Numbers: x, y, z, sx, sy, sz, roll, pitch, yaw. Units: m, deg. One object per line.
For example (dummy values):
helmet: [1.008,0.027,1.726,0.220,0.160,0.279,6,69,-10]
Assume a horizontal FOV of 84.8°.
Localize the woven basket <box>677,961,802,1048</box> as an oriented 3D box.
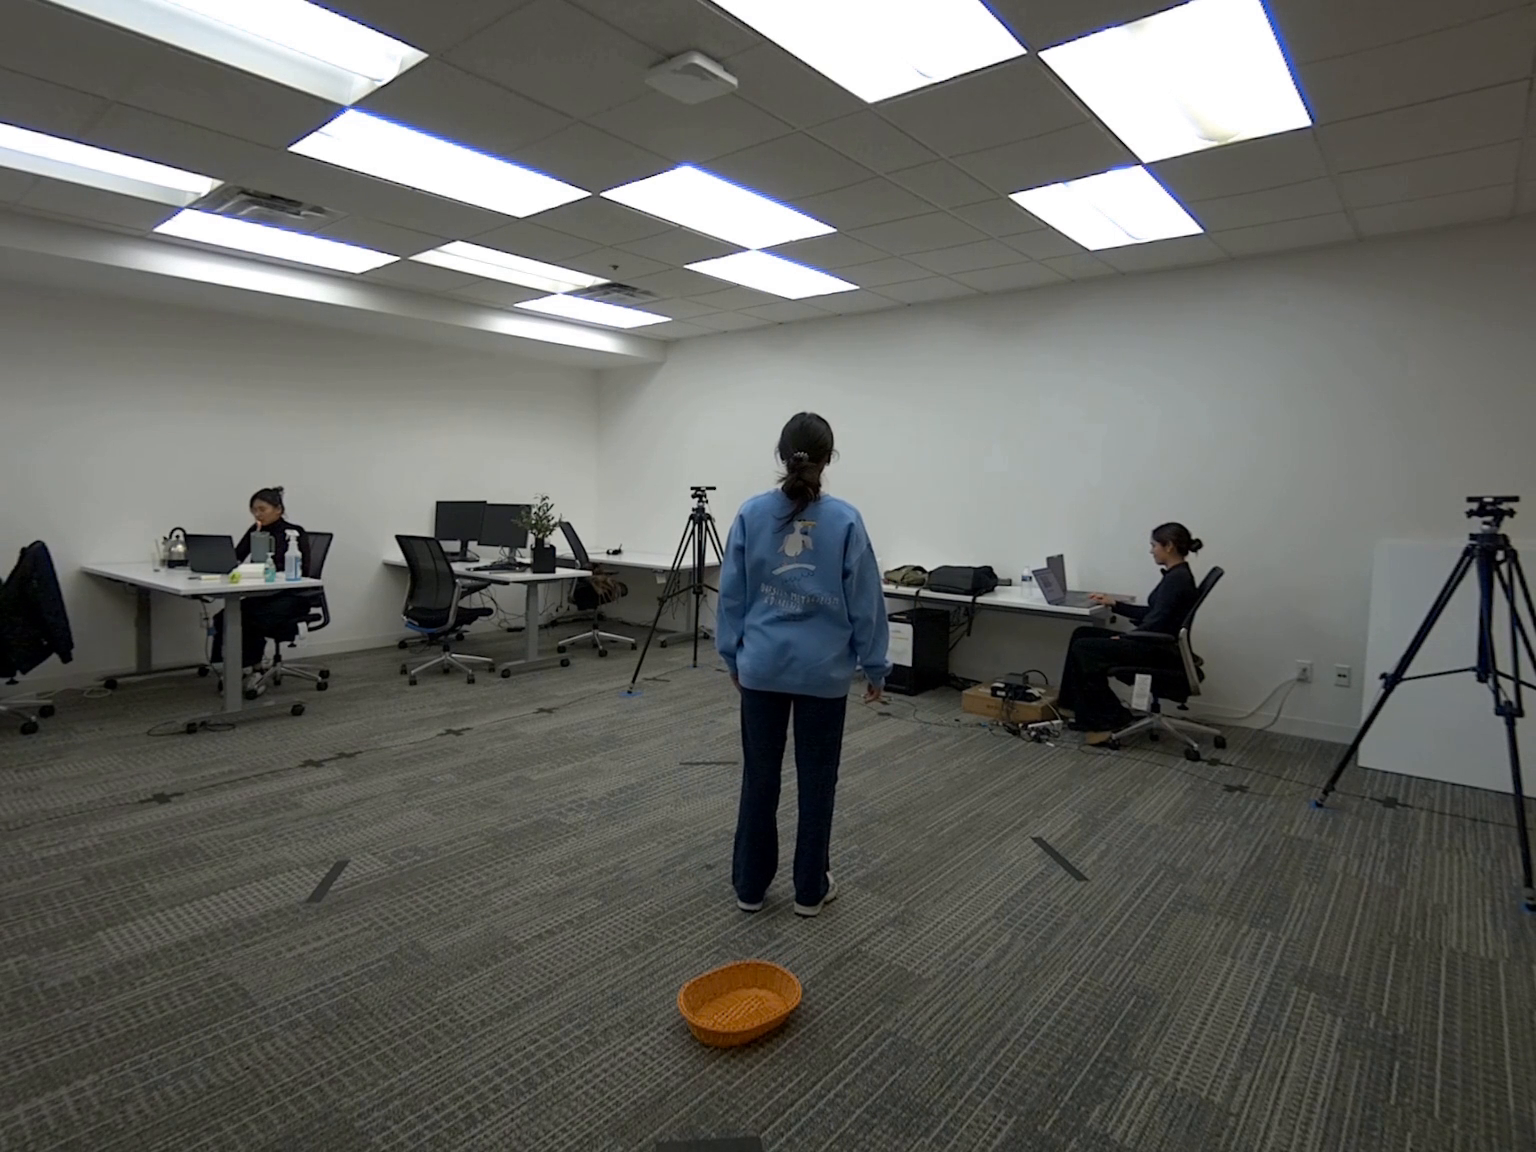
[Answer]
woven basket: [-0.082,1.115,2.234,0.340,0.073,0.261,-4,9,-38]
